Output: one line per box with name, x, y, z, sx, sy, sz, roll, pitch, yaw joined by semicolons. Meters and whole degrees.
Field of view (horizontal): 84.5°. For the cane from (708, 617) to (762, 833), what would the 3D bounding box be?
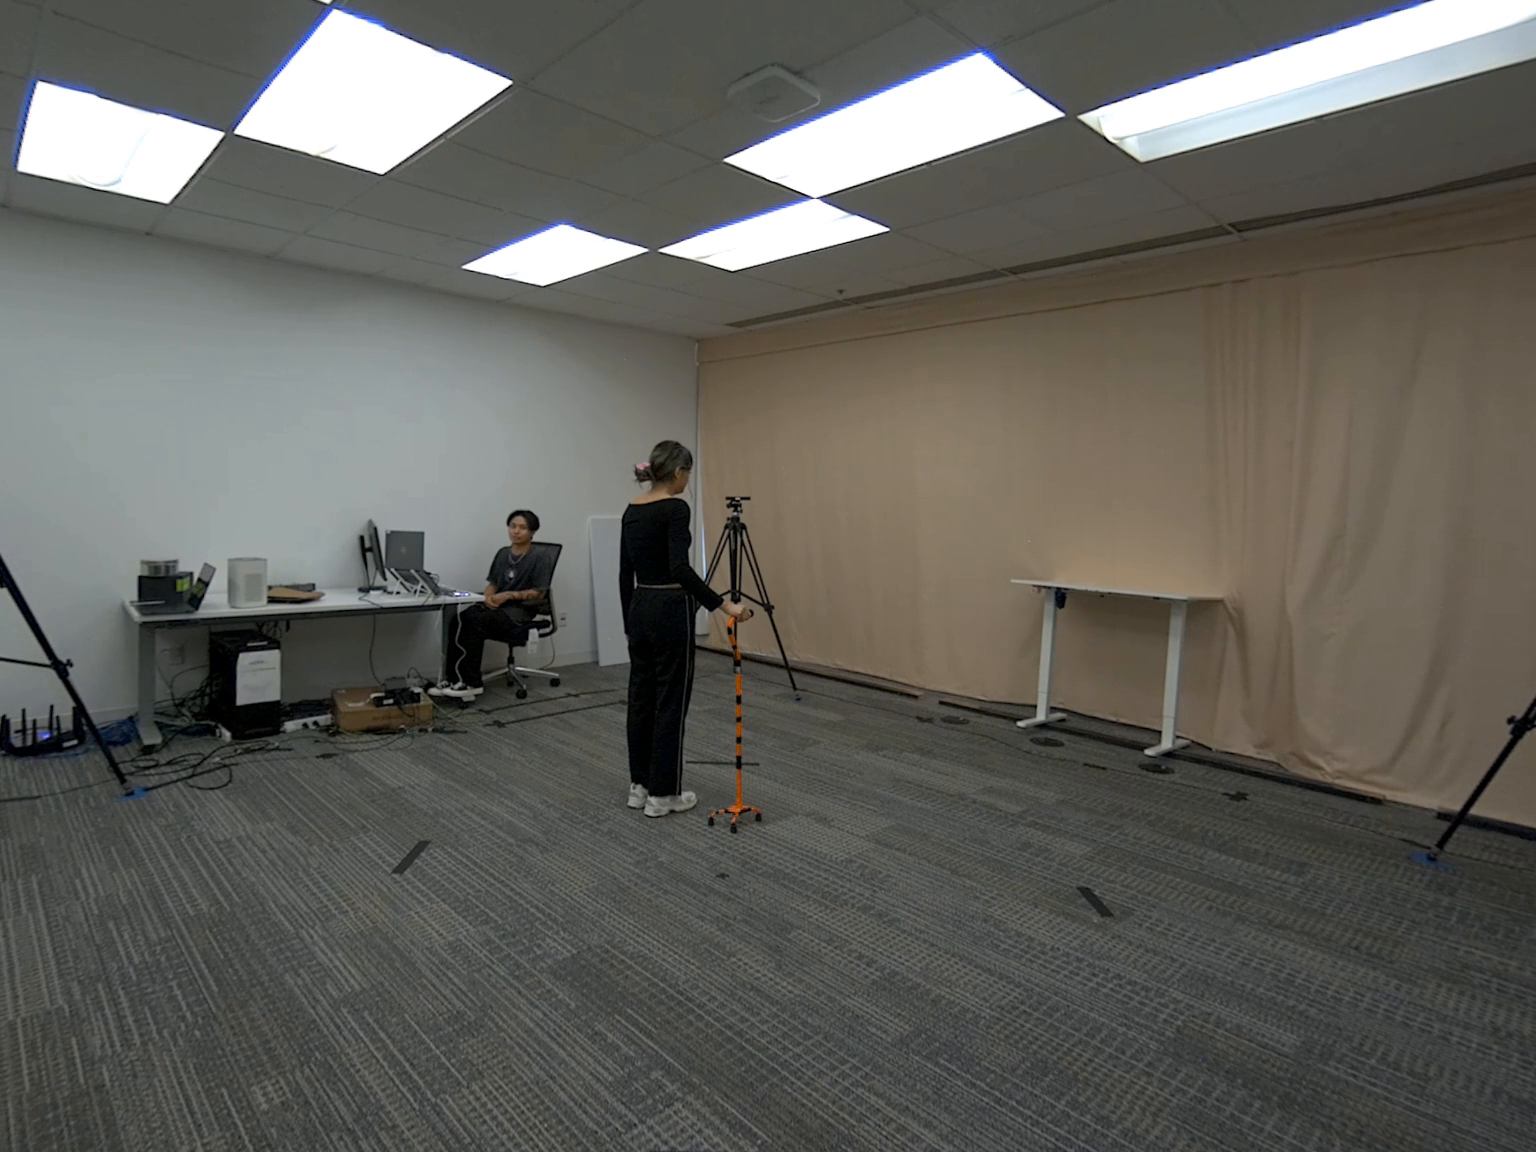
cane;-0.145;0.604;3.603;0.155;0.906;0.202;3;4;36
